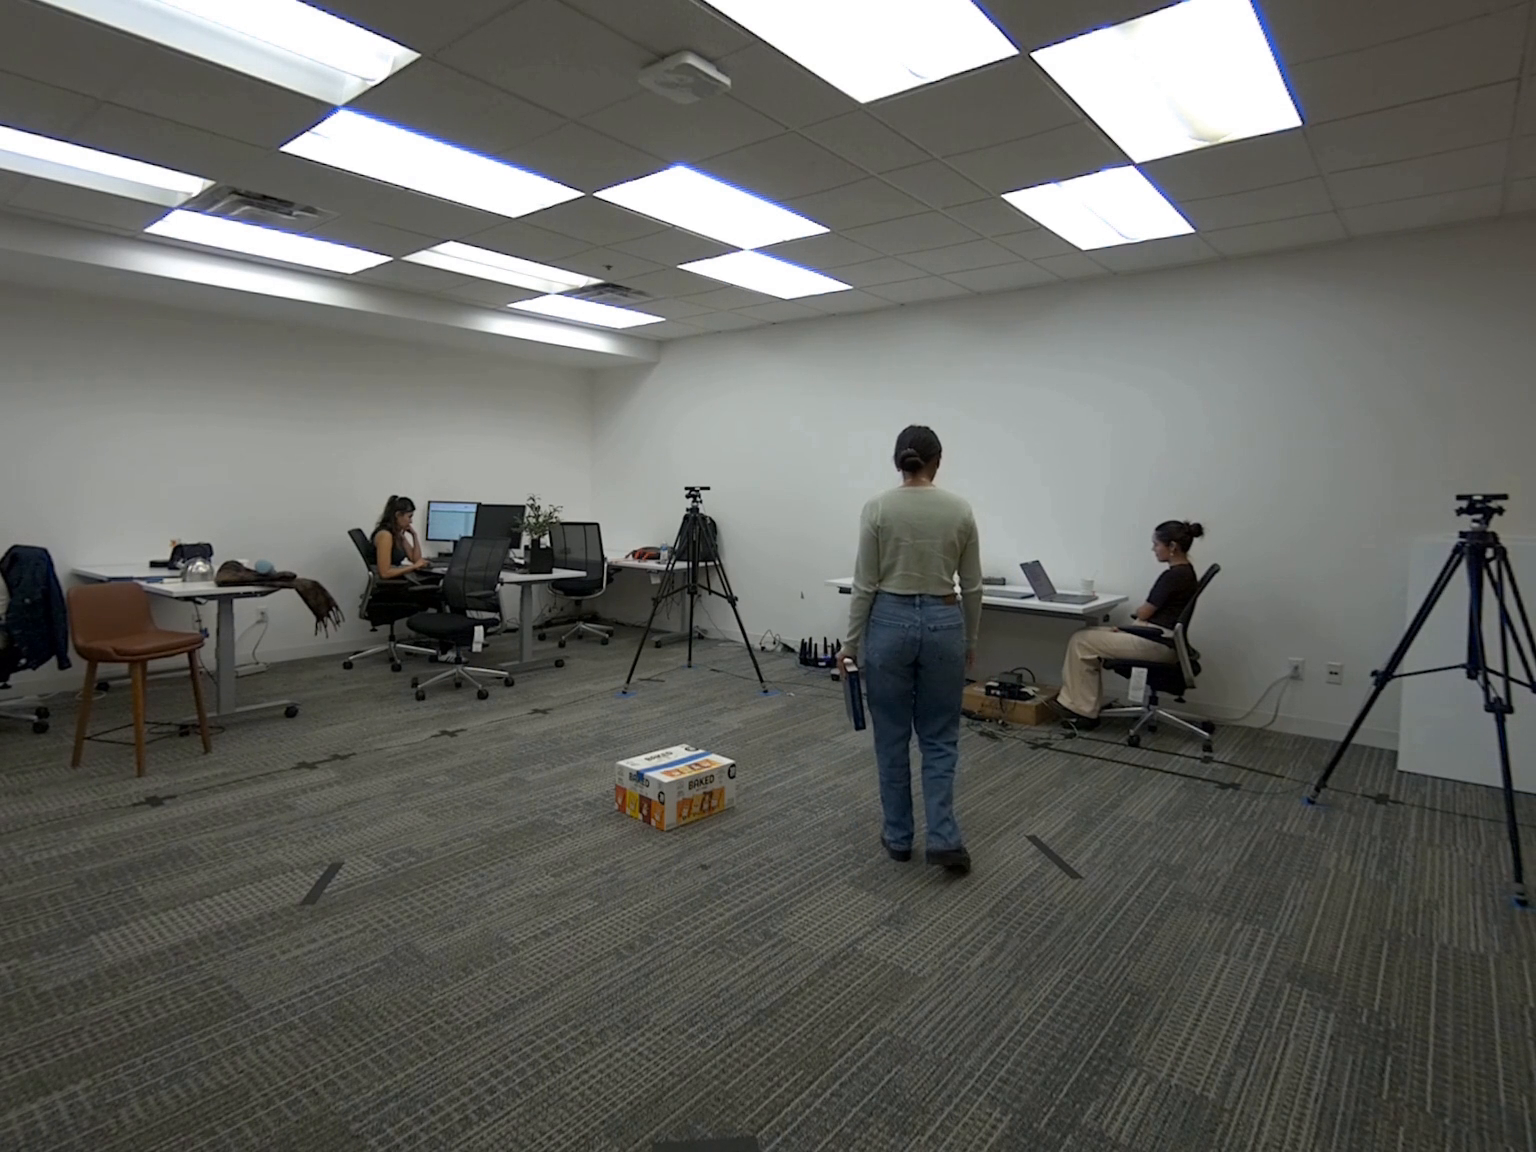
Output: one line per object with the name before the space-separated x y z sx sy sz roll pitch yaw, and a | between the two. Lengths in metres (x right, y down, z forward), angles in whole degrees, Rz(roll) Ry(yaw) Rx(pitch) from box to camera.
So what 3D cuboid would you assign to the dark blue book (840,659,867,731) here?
dark blue book | 0.321 0.454 3.289 0.045 0.241 0.166 -9 14 -4
